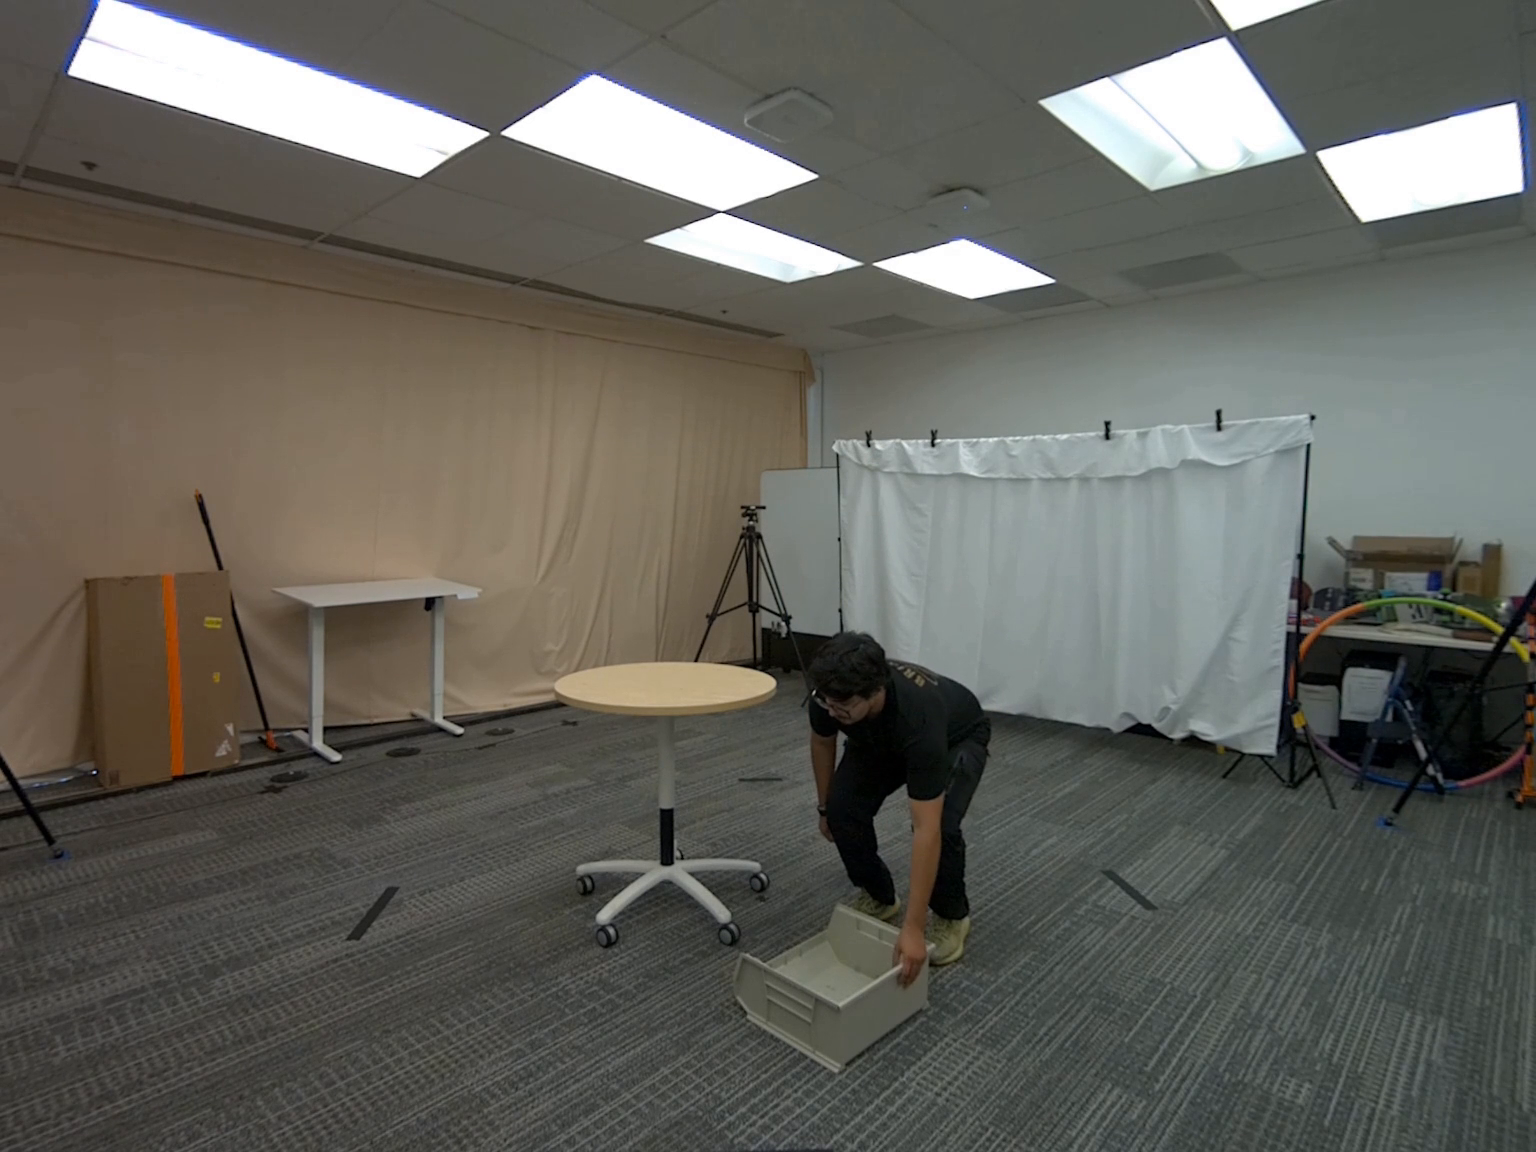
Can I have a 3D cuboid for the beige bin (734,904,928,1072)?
[{"bbox_3d":[0.185,1.111,2.320,0.409,0.188,0.390,-4,7,-45],"label":"beige bin"}]
